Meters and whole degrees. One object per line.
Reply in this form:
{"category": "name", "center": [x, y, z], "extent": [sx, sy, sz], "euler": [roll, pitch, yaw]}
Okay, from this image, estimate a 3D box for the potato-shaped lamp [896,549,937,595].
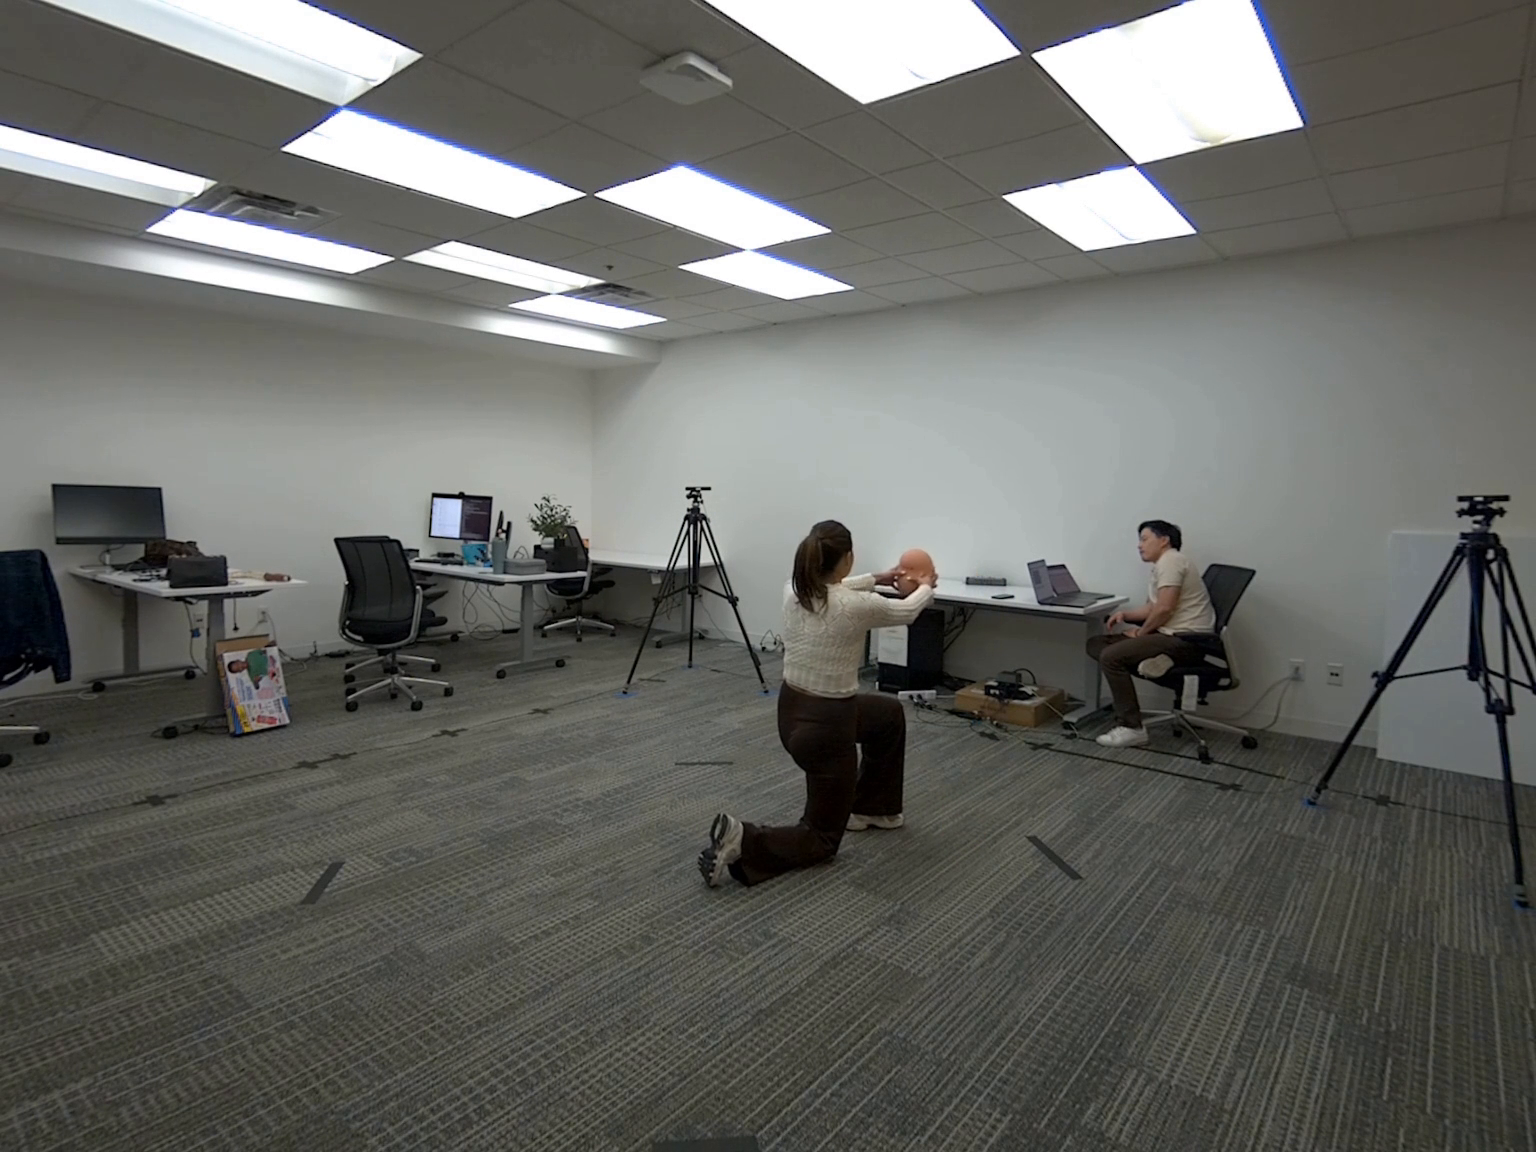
{"category": "potato-shaped lamp", "center": [0.626, -0.021, 3.684], "extent": [0.169, 0.194, 0.170], "euler": [-27, 18, -29]}
